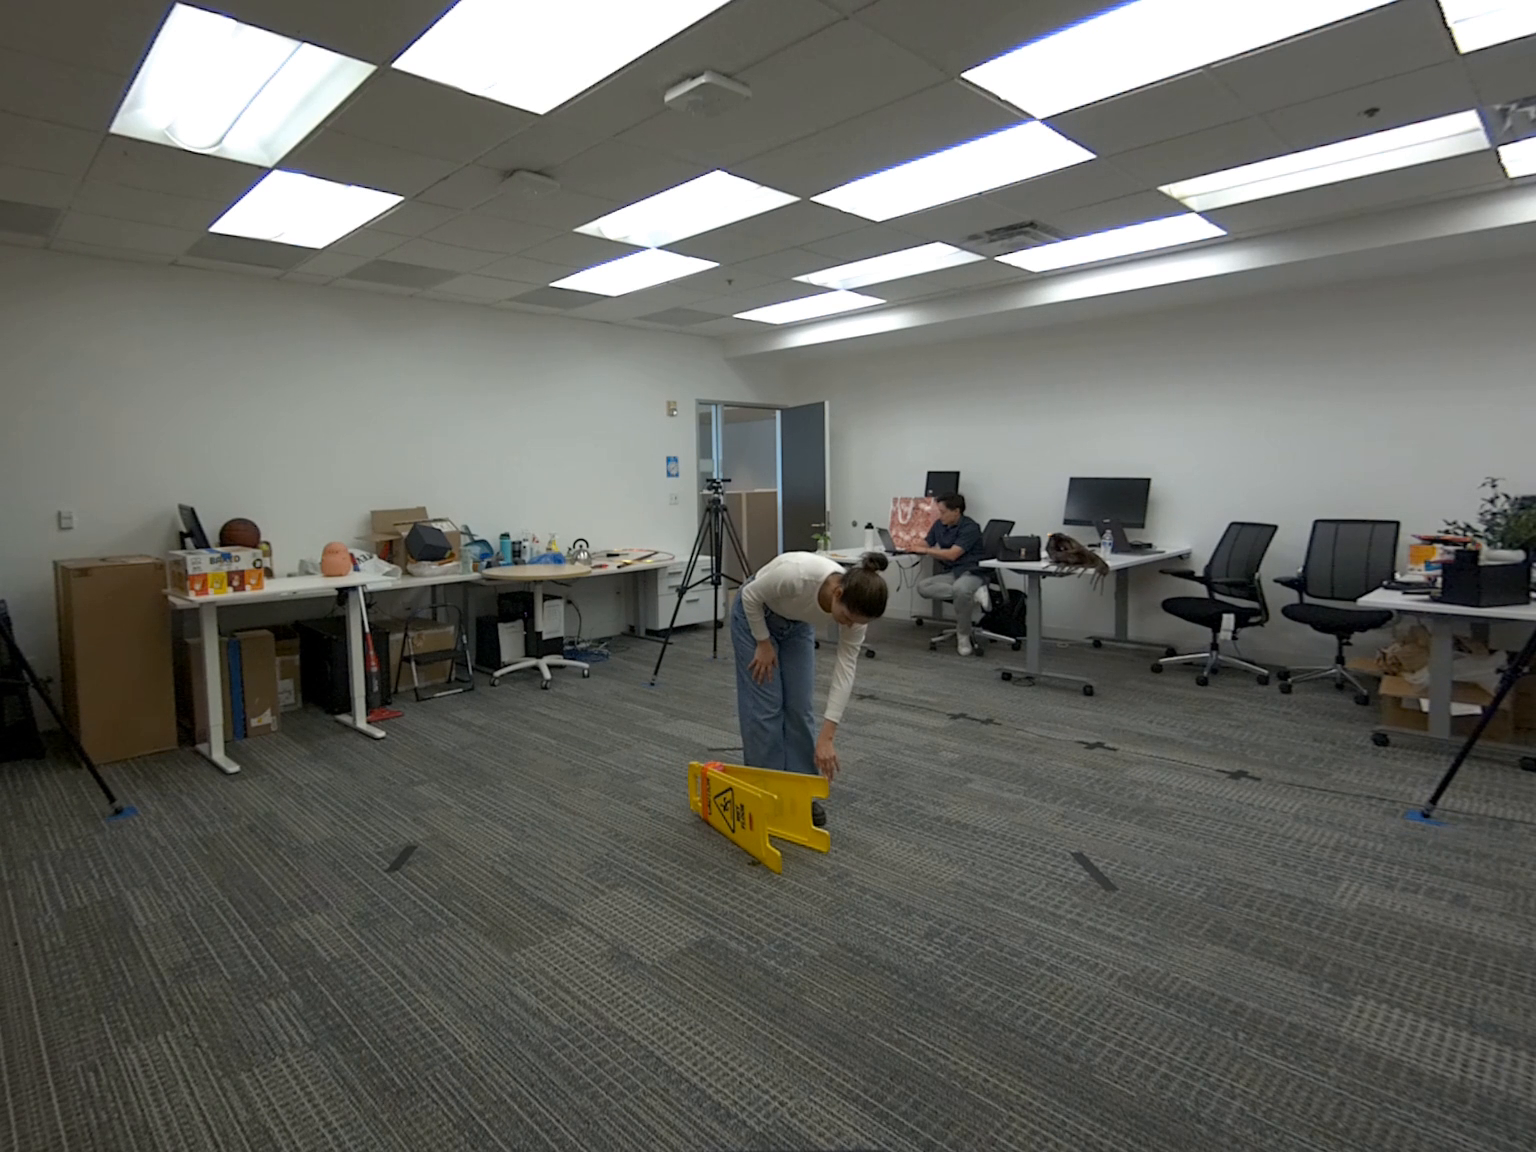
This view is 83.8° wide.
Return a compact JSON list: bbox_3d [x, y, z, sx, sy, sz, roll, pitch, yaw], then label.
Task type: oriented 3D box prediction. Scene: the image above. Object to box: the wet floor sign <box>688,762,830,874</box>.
[{"bbox_3d":[-0.098,0.891,3.335,0.282,0.281,0.666,-4,5,-43],"label":"wet floor sign"}]
